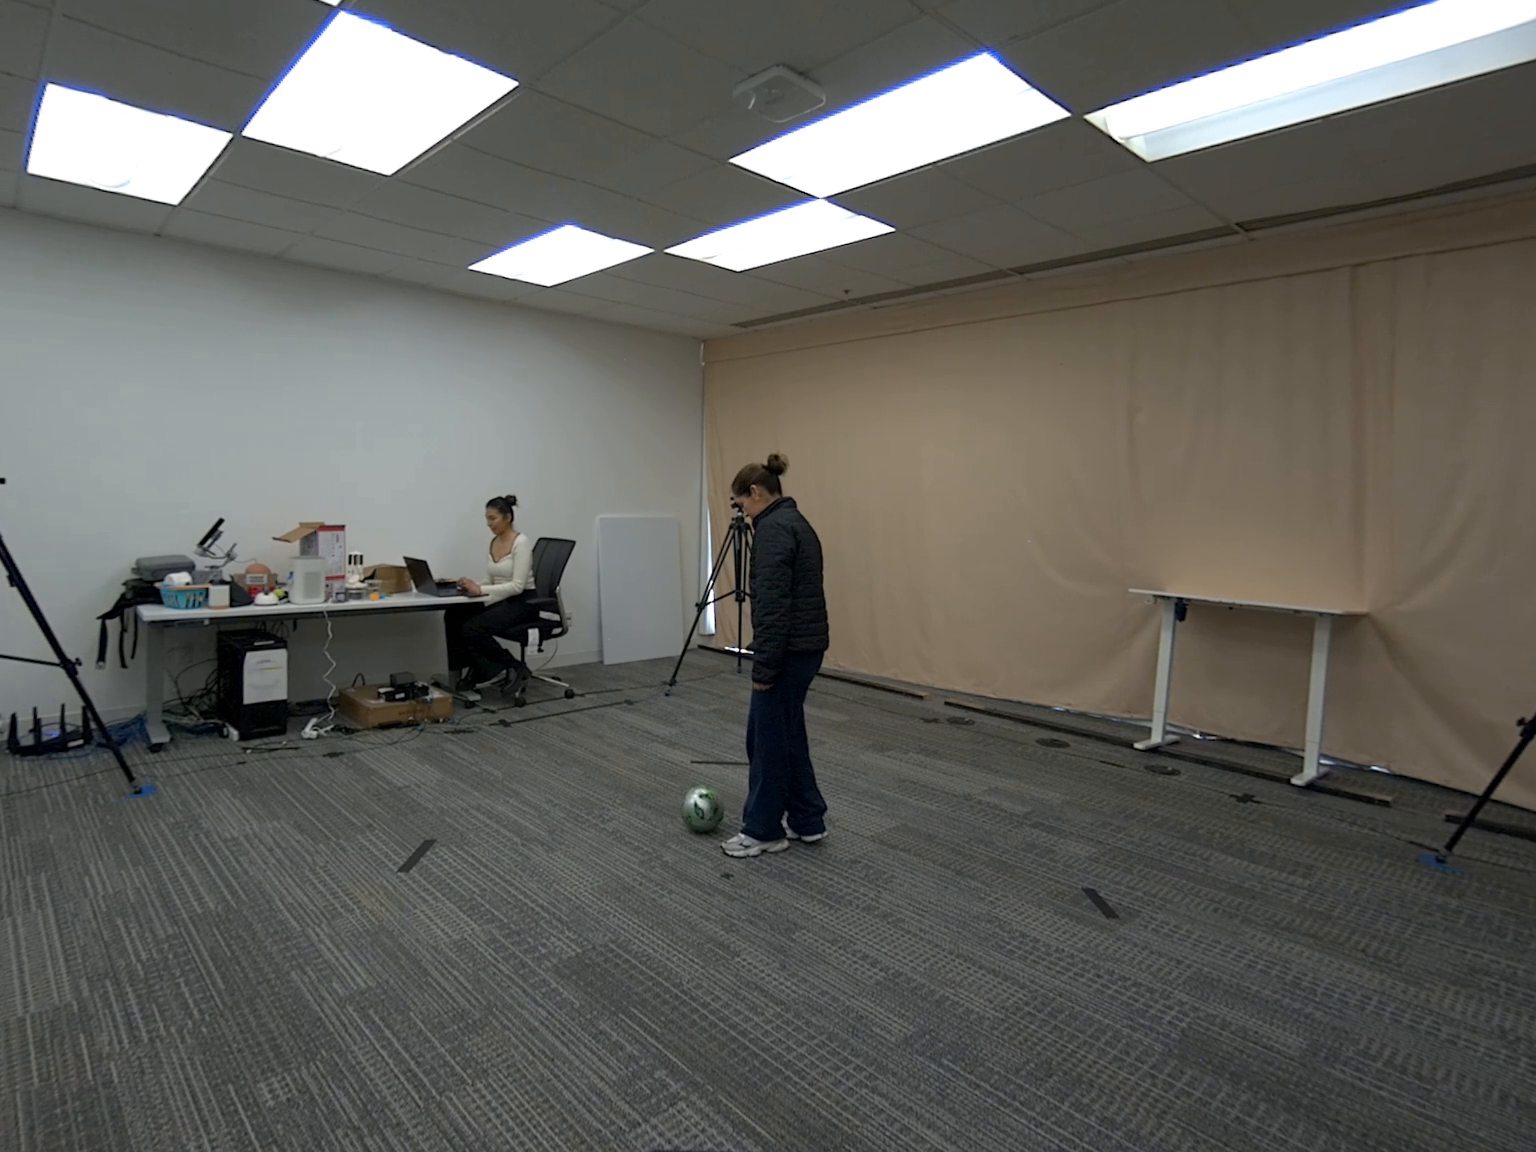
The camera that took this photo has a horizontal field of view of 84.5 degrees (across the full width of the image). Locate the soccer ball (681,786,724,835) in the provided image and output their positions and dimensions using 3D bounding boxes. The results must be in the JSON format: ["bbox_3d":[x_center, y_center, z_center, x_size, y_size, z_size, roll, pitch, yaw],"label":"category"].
[{"bbox_3d":[-0.280,0.970,3.519,0.187,0.187,0.188,1,4,-1],"label":"soccer ball"}]
